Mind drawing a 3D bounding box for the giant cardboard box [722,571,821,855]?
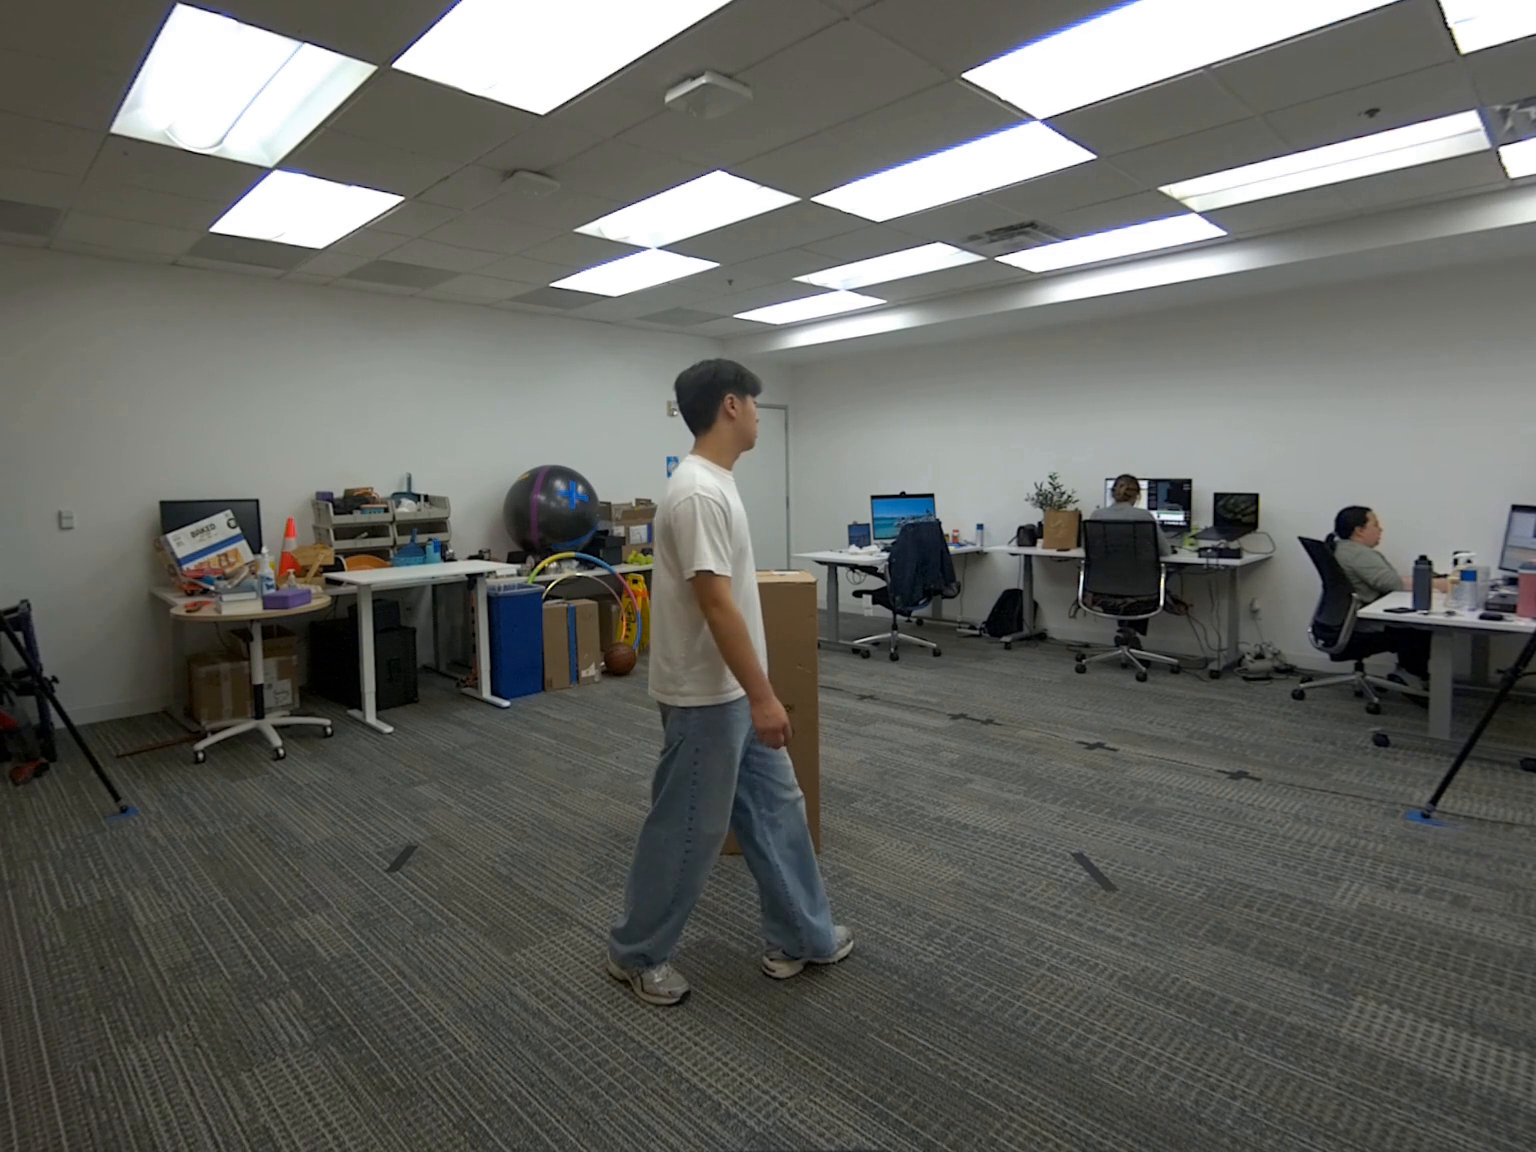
[{"bbox_3d":[-0.099,0.508,3.367,0.577,1.022,0.428,-1,4,-2],"label":"giant cardboard box"}]
